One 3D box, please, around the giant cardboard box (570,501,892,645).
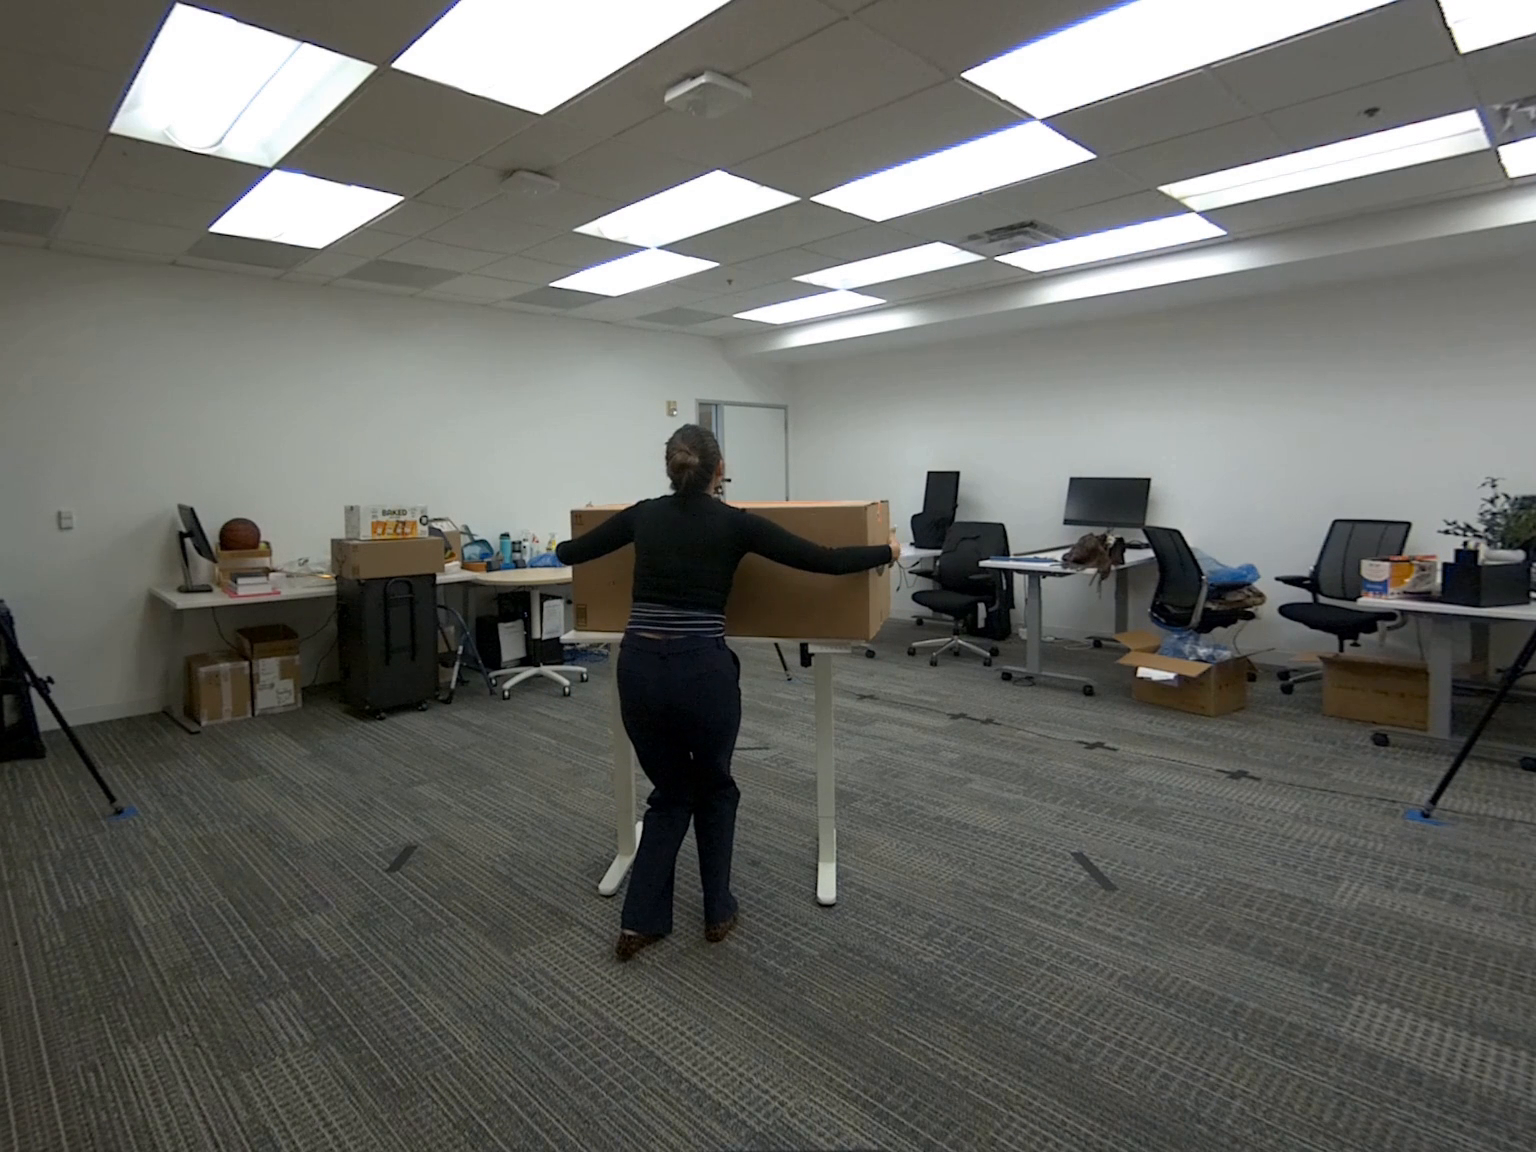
[{"bbox_3d":[-0.112,-0.045,3.058,1.043,0.425,0.570,0,5,18],"label":"giant cardboard box"}]
